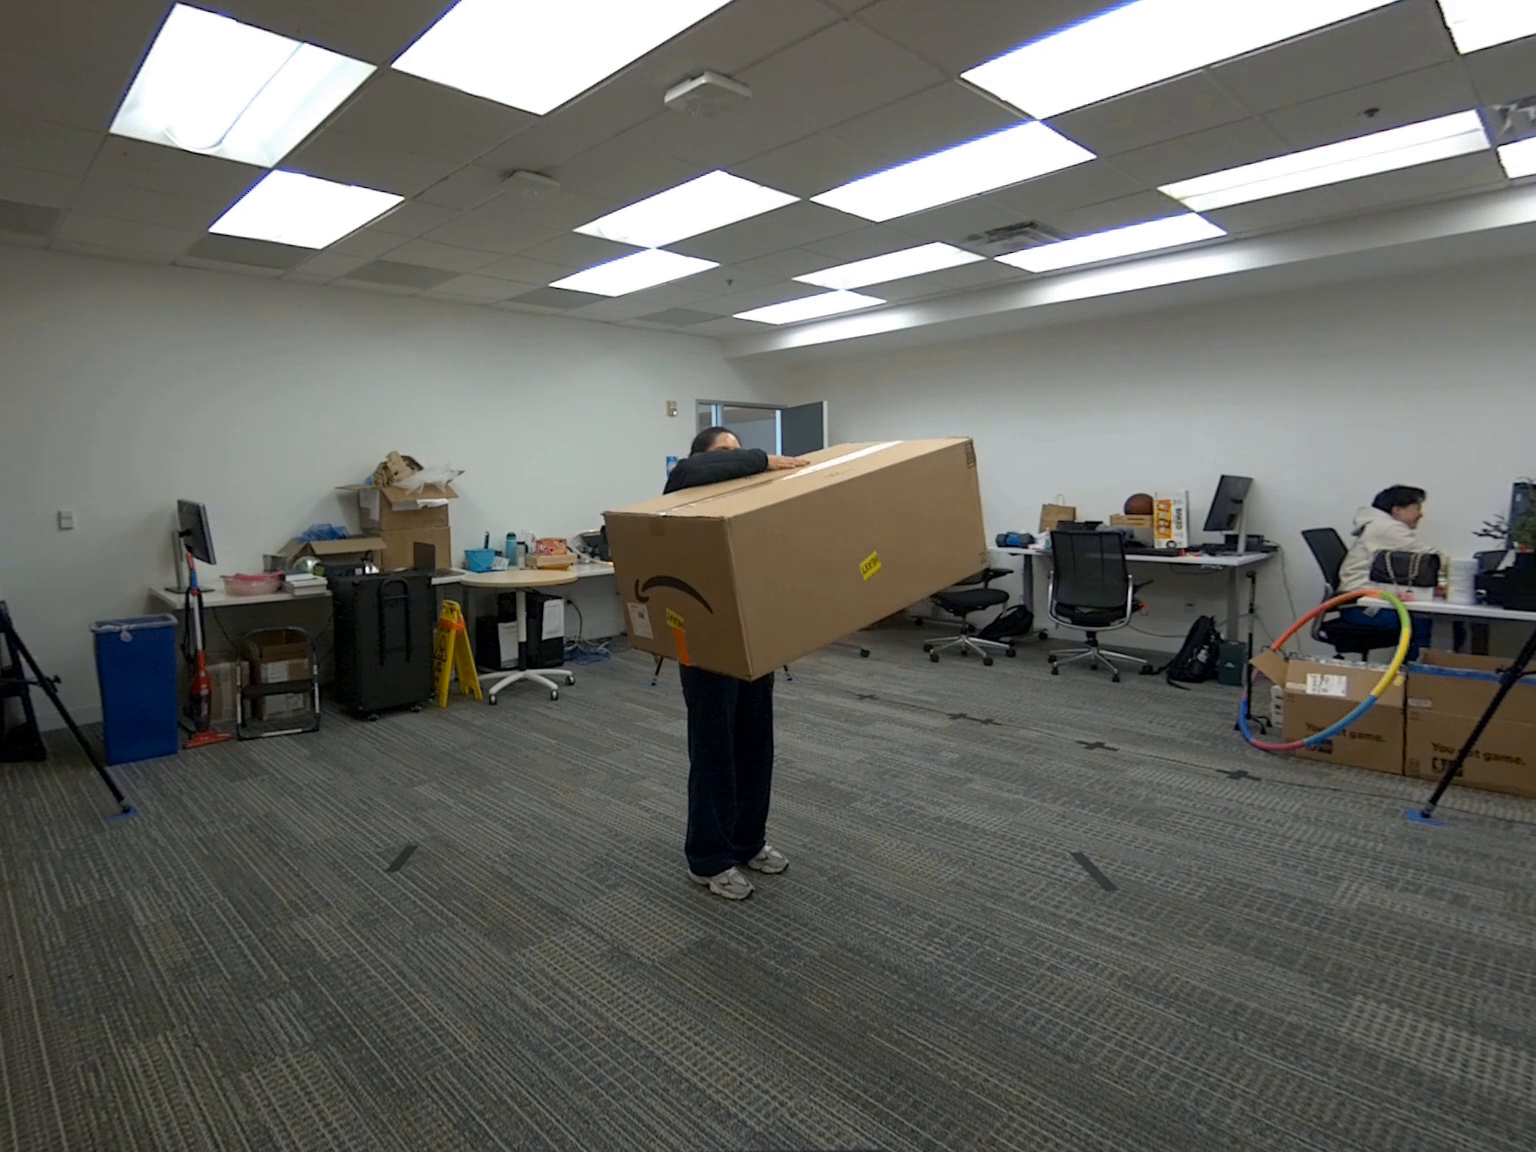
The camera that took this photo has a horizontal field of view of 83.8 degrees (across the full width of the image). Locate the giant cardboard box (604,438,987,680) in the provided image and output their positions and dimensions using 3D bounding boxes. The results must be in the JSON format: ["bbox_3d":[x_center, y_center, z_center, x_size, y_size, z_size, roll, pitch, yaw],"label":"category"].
[{"bbox_3d":[0.110,-0.101,2.621,1.007,0.421,0.595,-20,16,-37],"label":"giant cardboard box"}]
